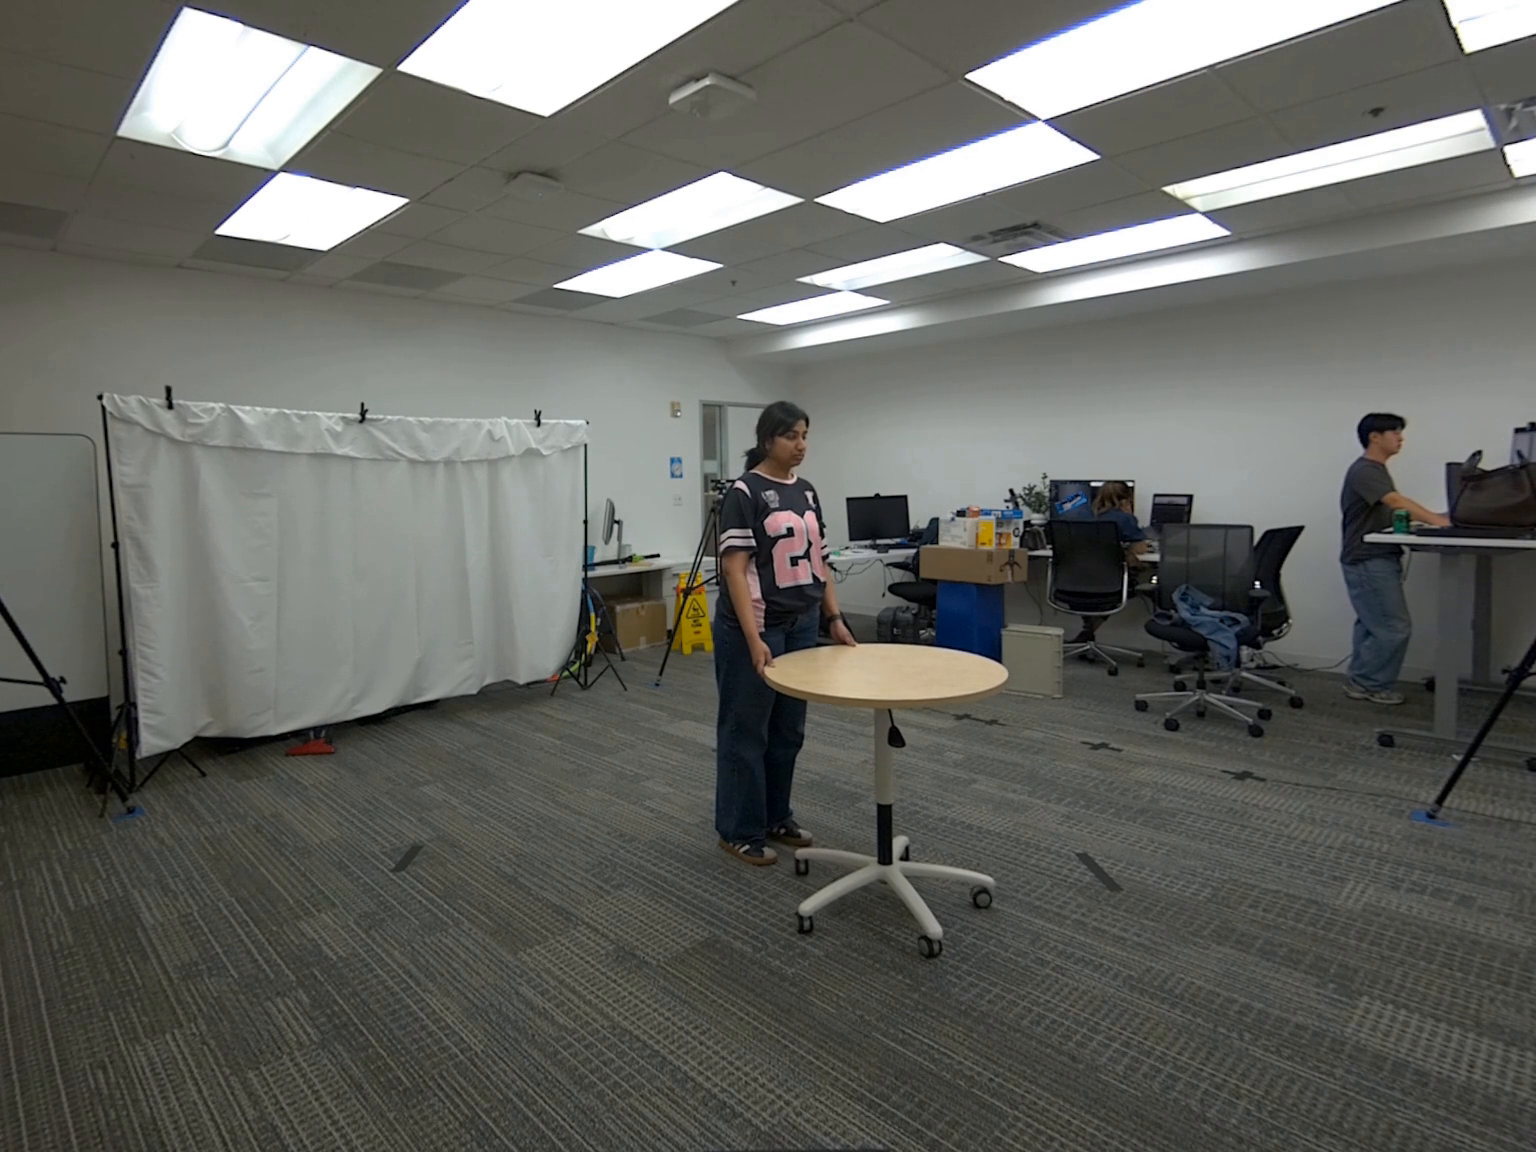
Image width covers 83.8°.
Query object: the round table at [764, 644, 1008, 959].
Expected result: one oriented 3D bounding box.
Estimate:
[{"bbox_3d":[0.373,0.681,2.786,0.784,0.783,0.789,-1,5,-2],"label":"round table"}]
